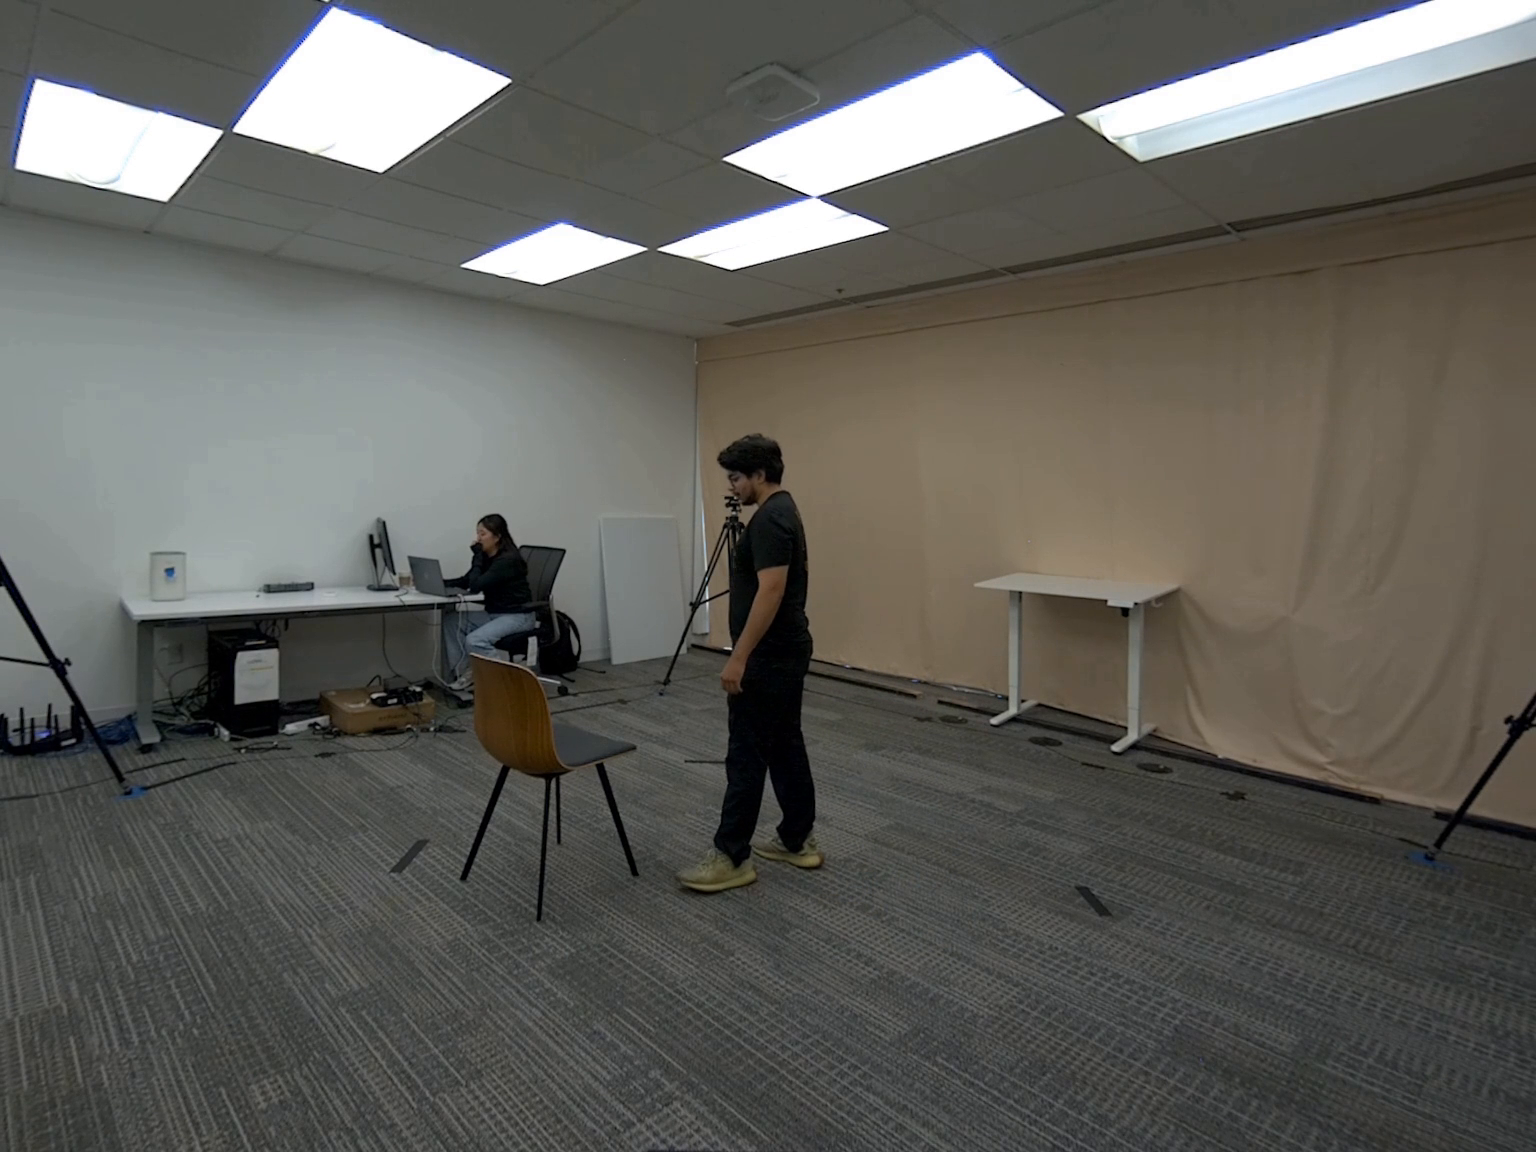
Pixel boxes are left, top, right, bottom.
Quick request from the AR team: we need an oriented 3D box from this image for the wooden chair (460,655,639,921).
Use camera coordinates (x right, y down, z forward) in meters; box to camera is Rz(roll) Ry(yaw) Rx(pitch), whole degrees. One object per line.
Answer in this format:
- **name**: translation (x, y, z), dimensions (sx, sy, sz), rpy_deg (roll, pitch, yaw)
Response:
- **wooden chair**: translation (-0.759, 0.666, 3.022), dimensions (0.490, 0.873, 0.513), rpy_deg (4, 8, 39)
